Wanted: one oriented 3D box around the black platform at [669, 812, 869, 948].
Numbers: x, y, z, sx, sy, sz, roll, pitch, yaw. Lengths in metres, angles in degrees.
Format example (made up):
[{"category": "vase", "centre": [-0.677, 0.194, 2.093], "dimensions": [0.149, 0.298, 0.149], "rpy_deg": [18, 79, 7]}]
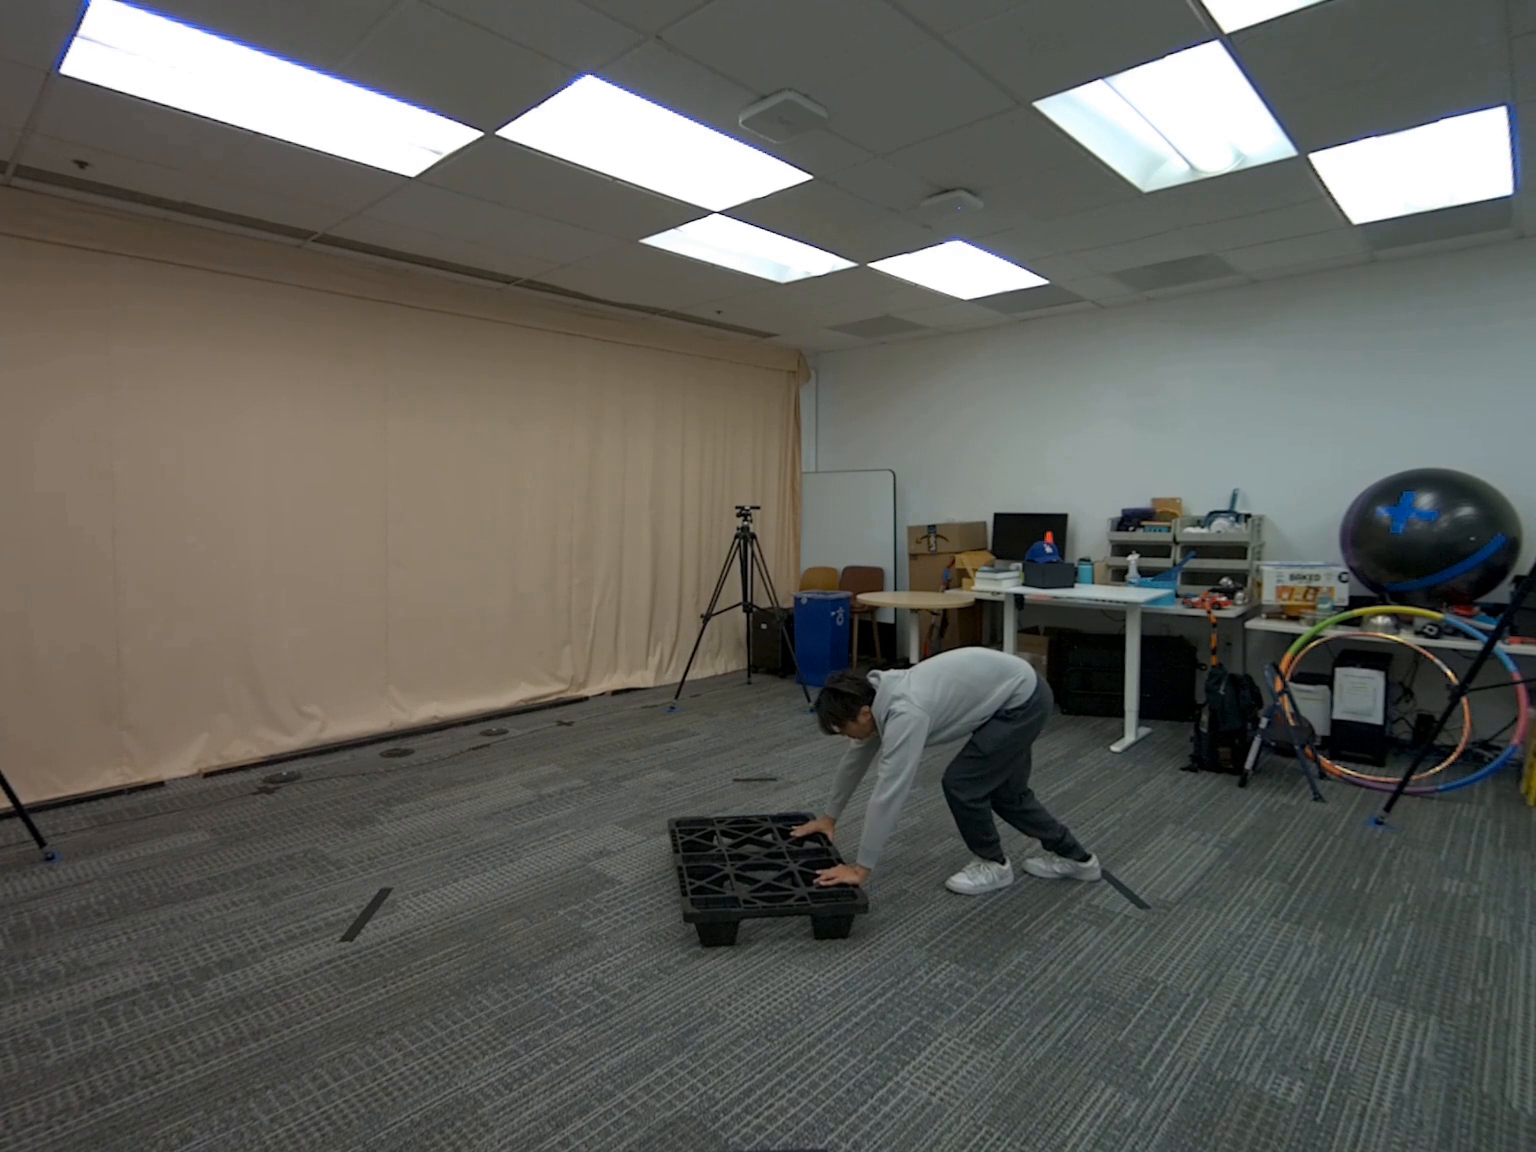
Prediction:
[{"category": "black platform", "centre": [-0.039, 1.072, 3.036], "dimensions": [0.600, 0.143, 0.815], "rpy_deg": [-1, 5, -9]}]
